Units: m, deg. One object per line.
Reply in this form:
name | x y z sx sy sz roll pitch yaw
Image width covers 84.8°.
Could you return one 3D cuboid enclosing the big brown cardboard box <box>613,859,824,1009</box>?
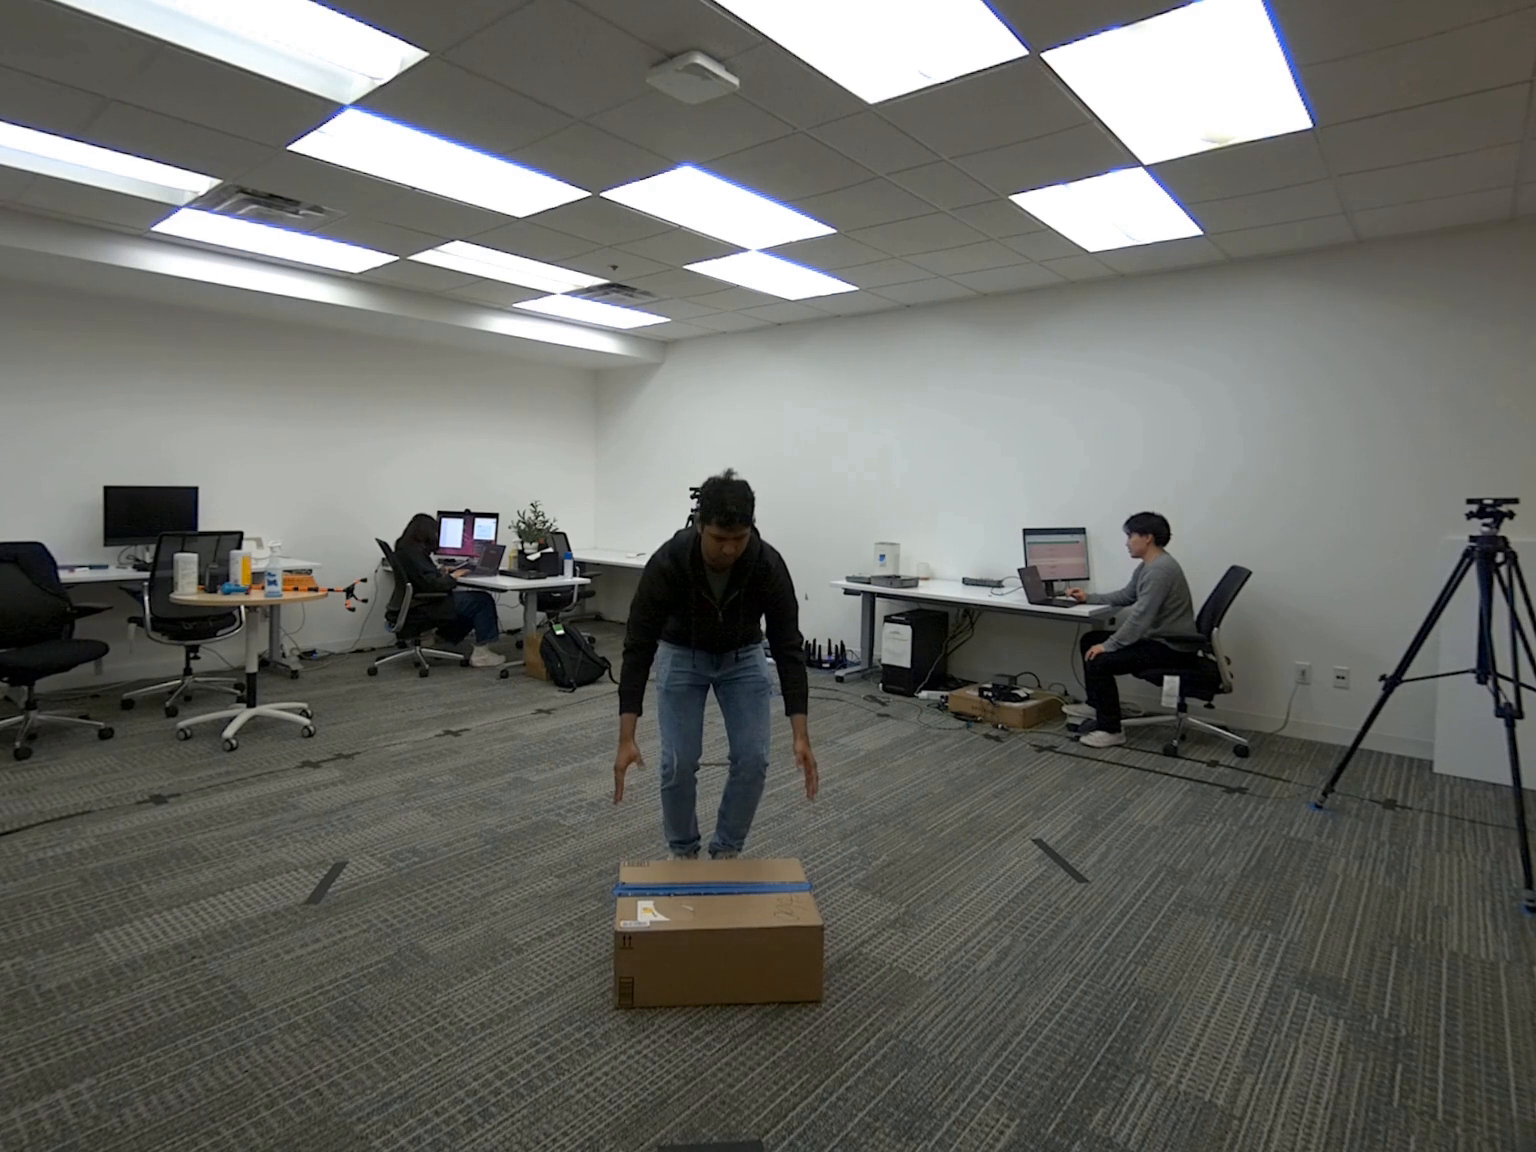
big brown cardboard box | -0.169 1.022 2.474 0.585 0.232 0.422 2 5 -6
